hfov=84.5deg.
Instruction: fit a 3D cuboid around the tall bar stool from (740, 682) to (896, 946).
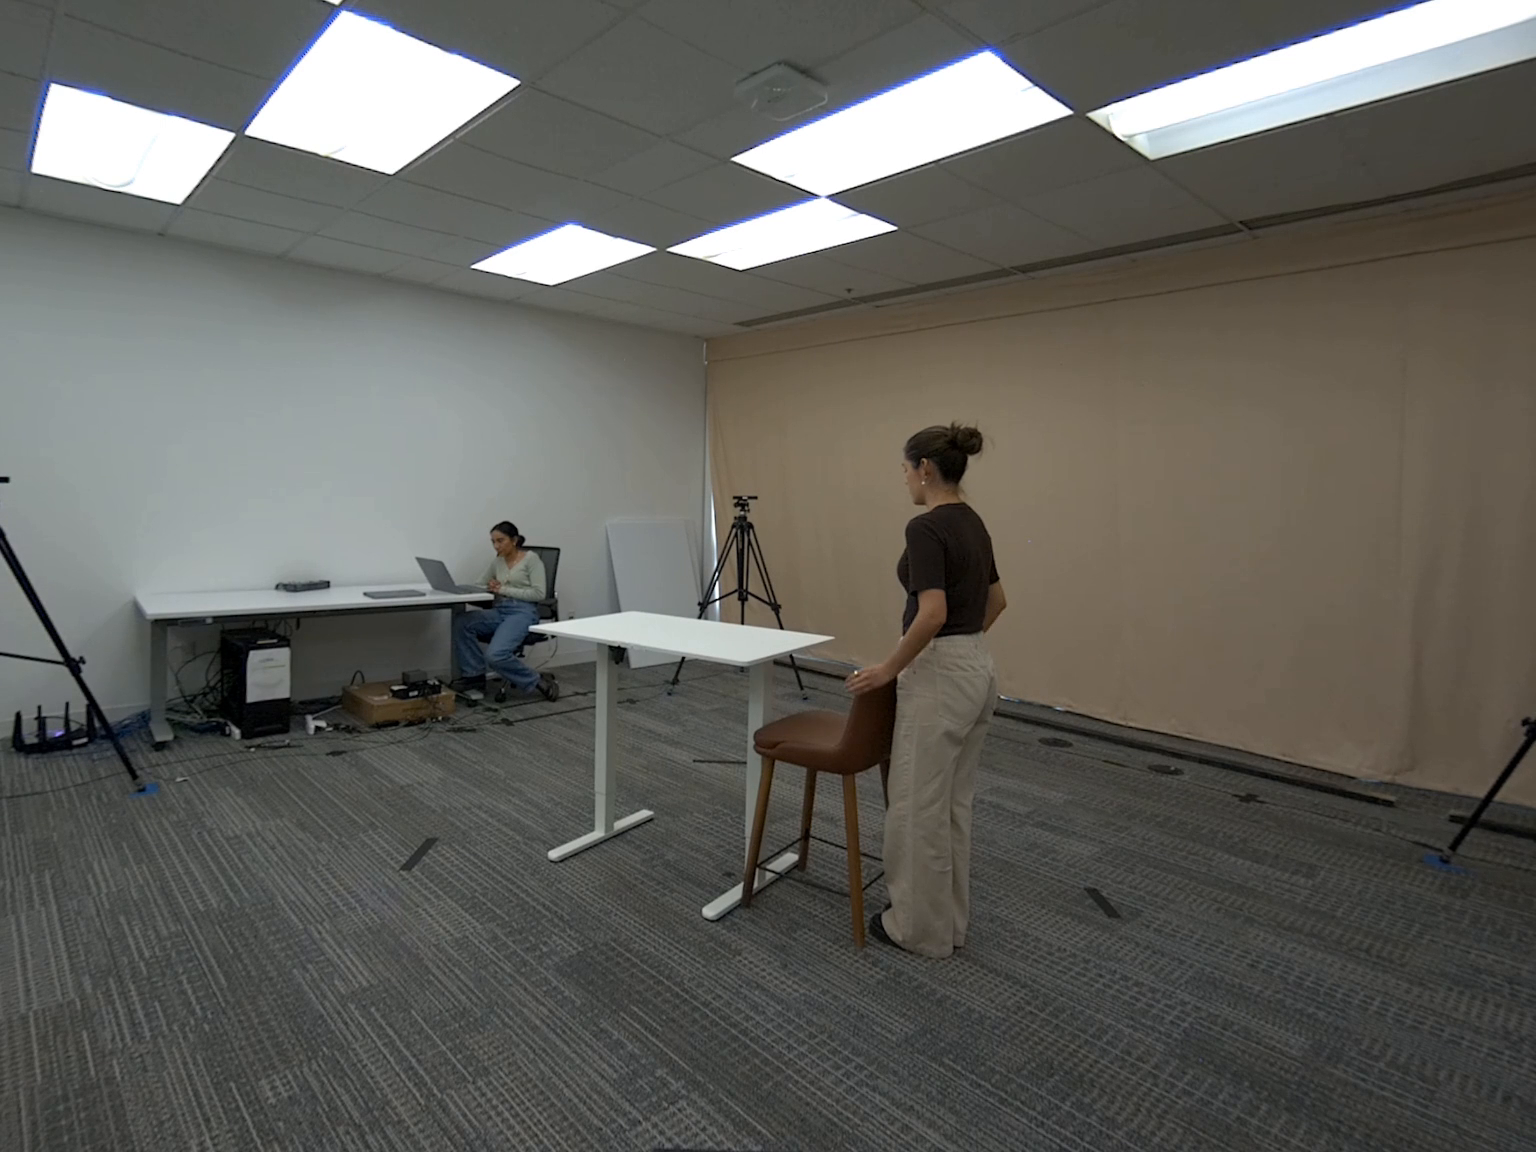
[{"bbox_3d":[0.219,0.692,2.865,0.479,0.886,0.447,8,7,35],"label":"tall bar stool"}]
